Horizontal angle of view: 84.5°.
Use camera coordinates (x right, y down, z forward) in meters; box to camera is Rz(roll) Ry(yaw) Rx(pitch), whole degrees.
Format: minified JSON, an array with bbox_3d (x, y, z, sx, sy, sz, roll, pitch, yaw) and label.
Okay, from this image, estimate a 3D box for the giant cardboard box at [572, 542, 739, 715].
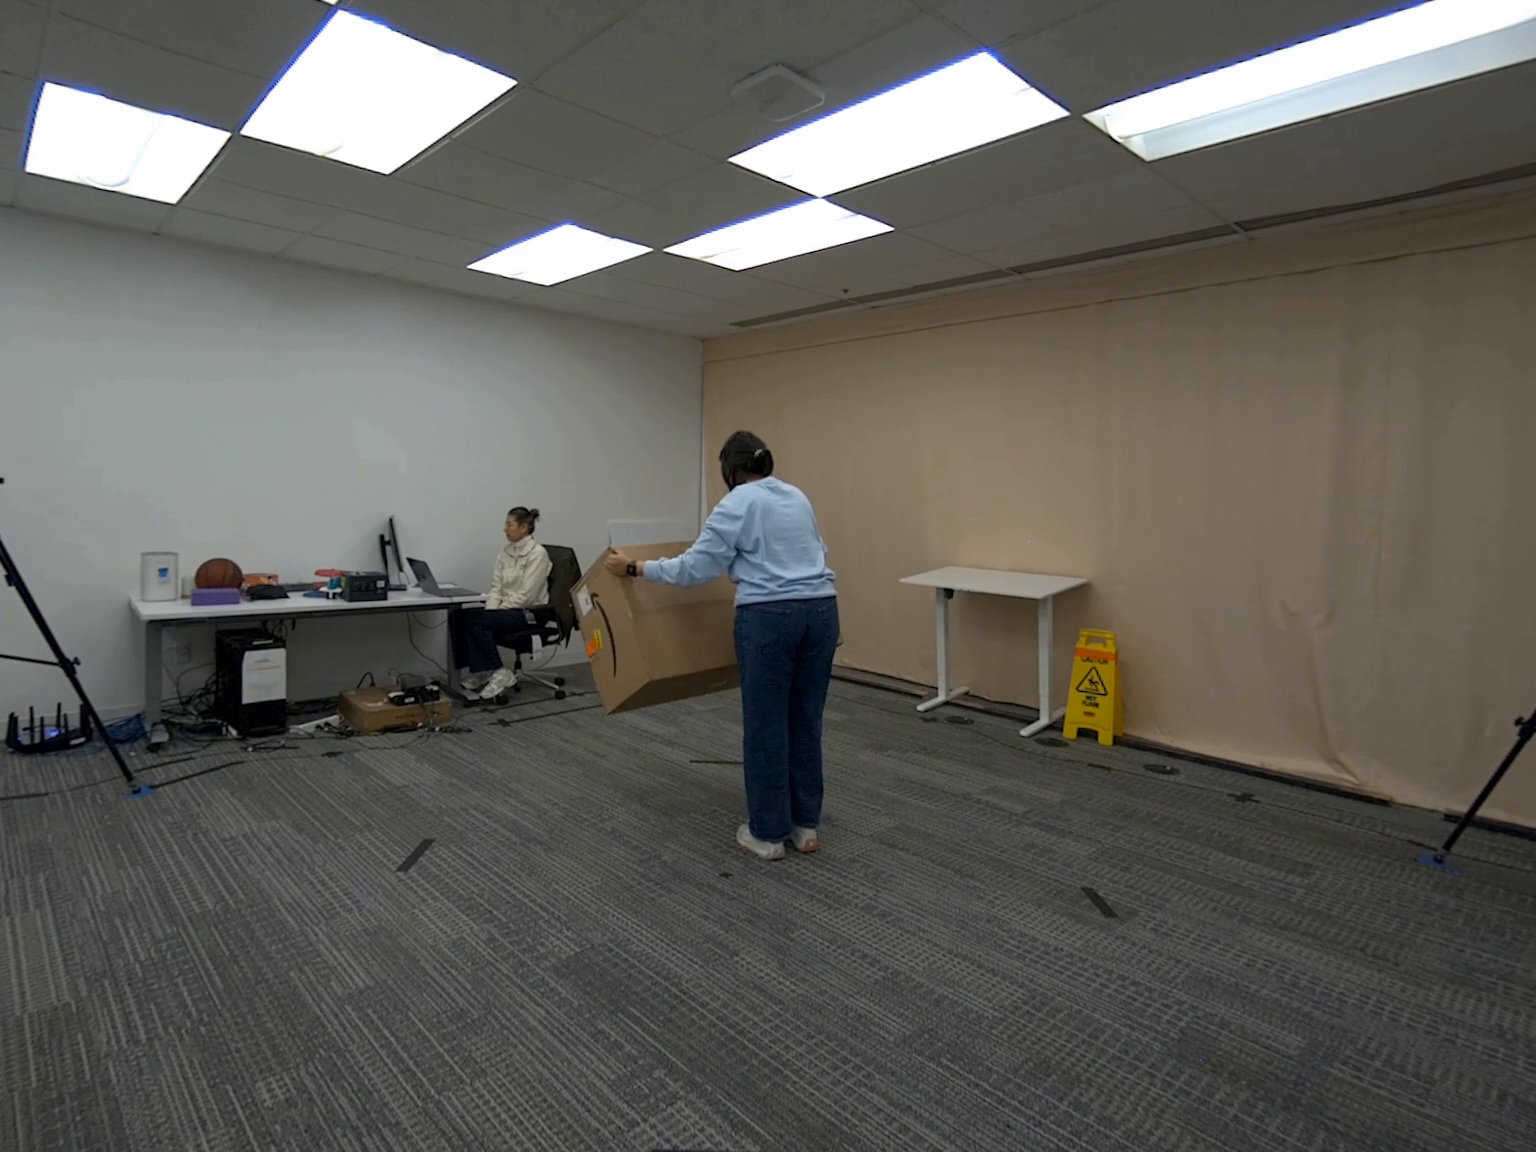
[{"bbox_3d":[-0.267,0.181,3.714,1.005,0.588,0.427,-6,-24,-37],"label":"giant cardboard box"}]
